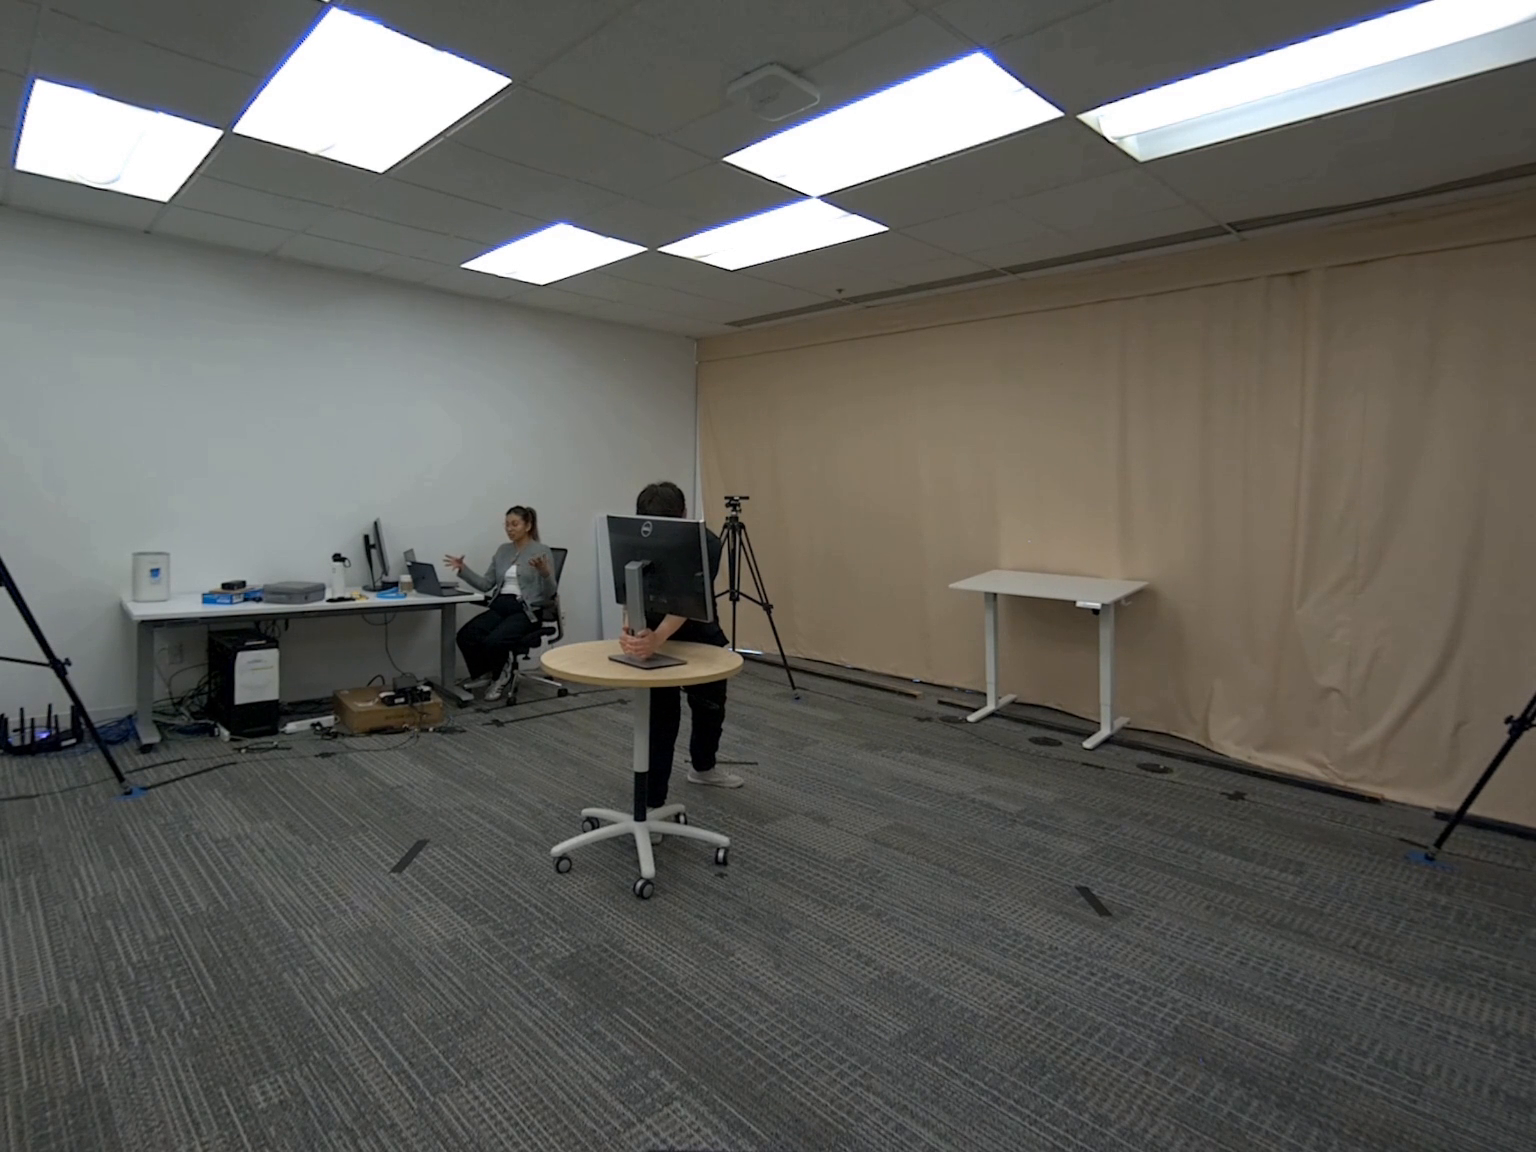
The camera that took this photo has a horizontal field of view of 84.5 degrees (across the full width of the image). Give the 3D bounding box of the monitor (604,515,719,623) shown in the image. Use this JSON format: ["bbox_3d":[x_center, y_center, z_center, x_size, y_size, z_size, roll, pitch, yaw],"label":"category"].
[{"bbox_3d":[-0.448,0.056,3.110,0.553,0.522,0.183,5,3,43],"label":"monitor"}]
